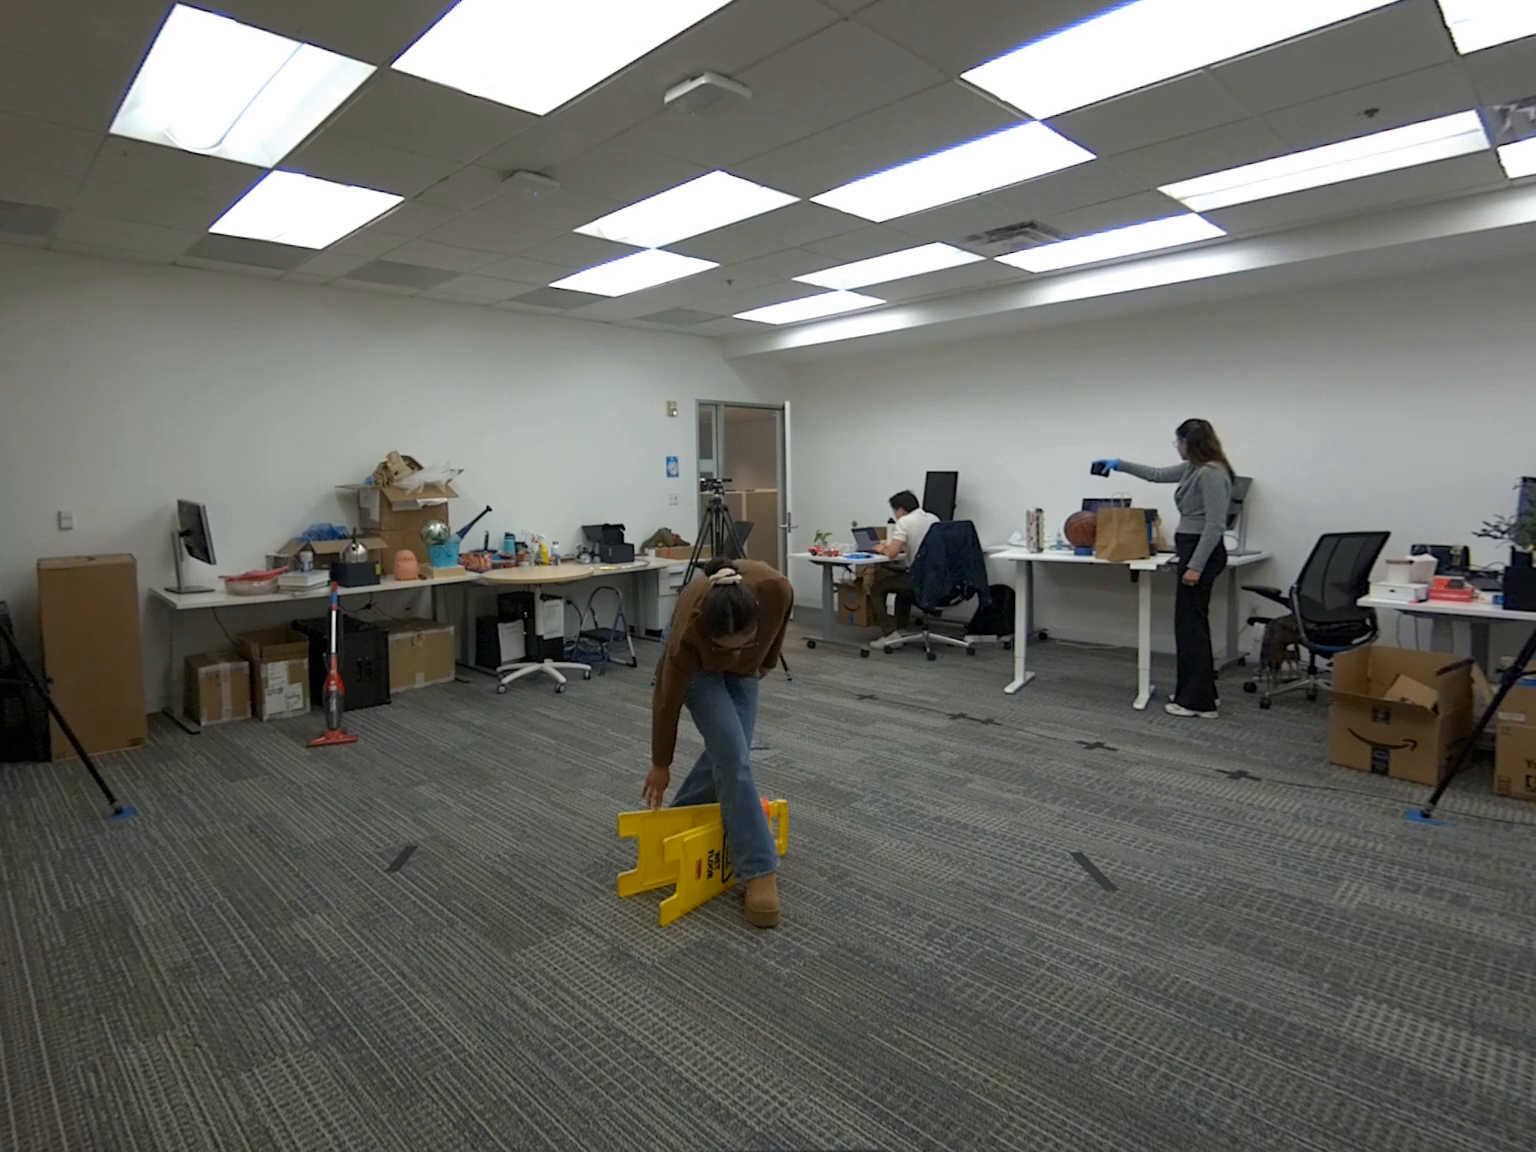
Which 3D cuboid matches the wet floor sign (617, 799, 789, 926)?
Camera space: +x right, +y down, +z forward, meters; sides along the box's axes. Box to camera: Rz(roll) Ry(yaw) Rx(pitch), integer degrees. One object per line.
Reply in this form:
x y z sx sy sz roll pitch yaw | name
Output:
-0.179 0.936 2.971 0.628 0.282 0.298 -2 4 -40 | wet floor sign
